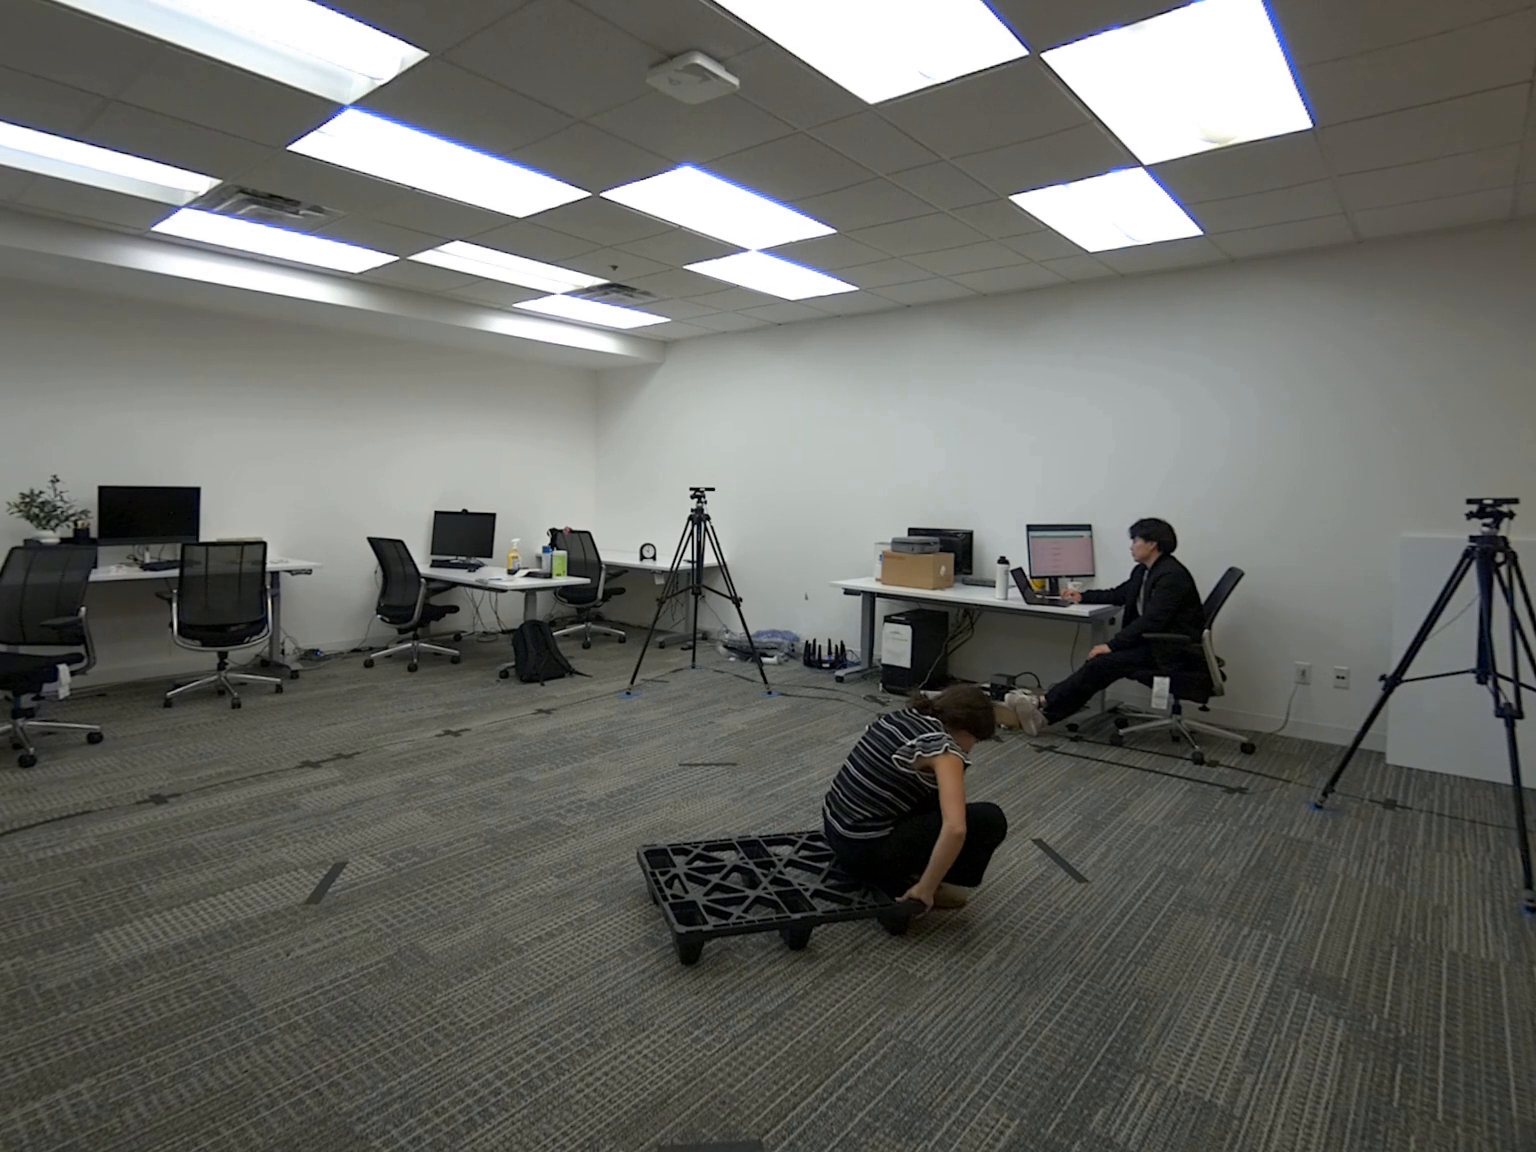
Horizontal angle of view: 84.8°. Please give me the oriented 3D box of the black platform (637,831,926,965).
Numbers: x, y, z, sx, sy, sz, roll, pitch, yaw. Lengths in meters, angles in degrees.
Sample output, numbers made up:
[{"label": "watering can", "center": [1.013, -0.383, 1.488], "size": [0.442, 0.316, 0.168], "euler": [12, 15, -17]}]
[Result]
[{"label": "black platform", "center": [0.009, 1.036, 2.798], "size": [0.791, 0.142, 0.619], "euler": [0, 7, -18]}]
